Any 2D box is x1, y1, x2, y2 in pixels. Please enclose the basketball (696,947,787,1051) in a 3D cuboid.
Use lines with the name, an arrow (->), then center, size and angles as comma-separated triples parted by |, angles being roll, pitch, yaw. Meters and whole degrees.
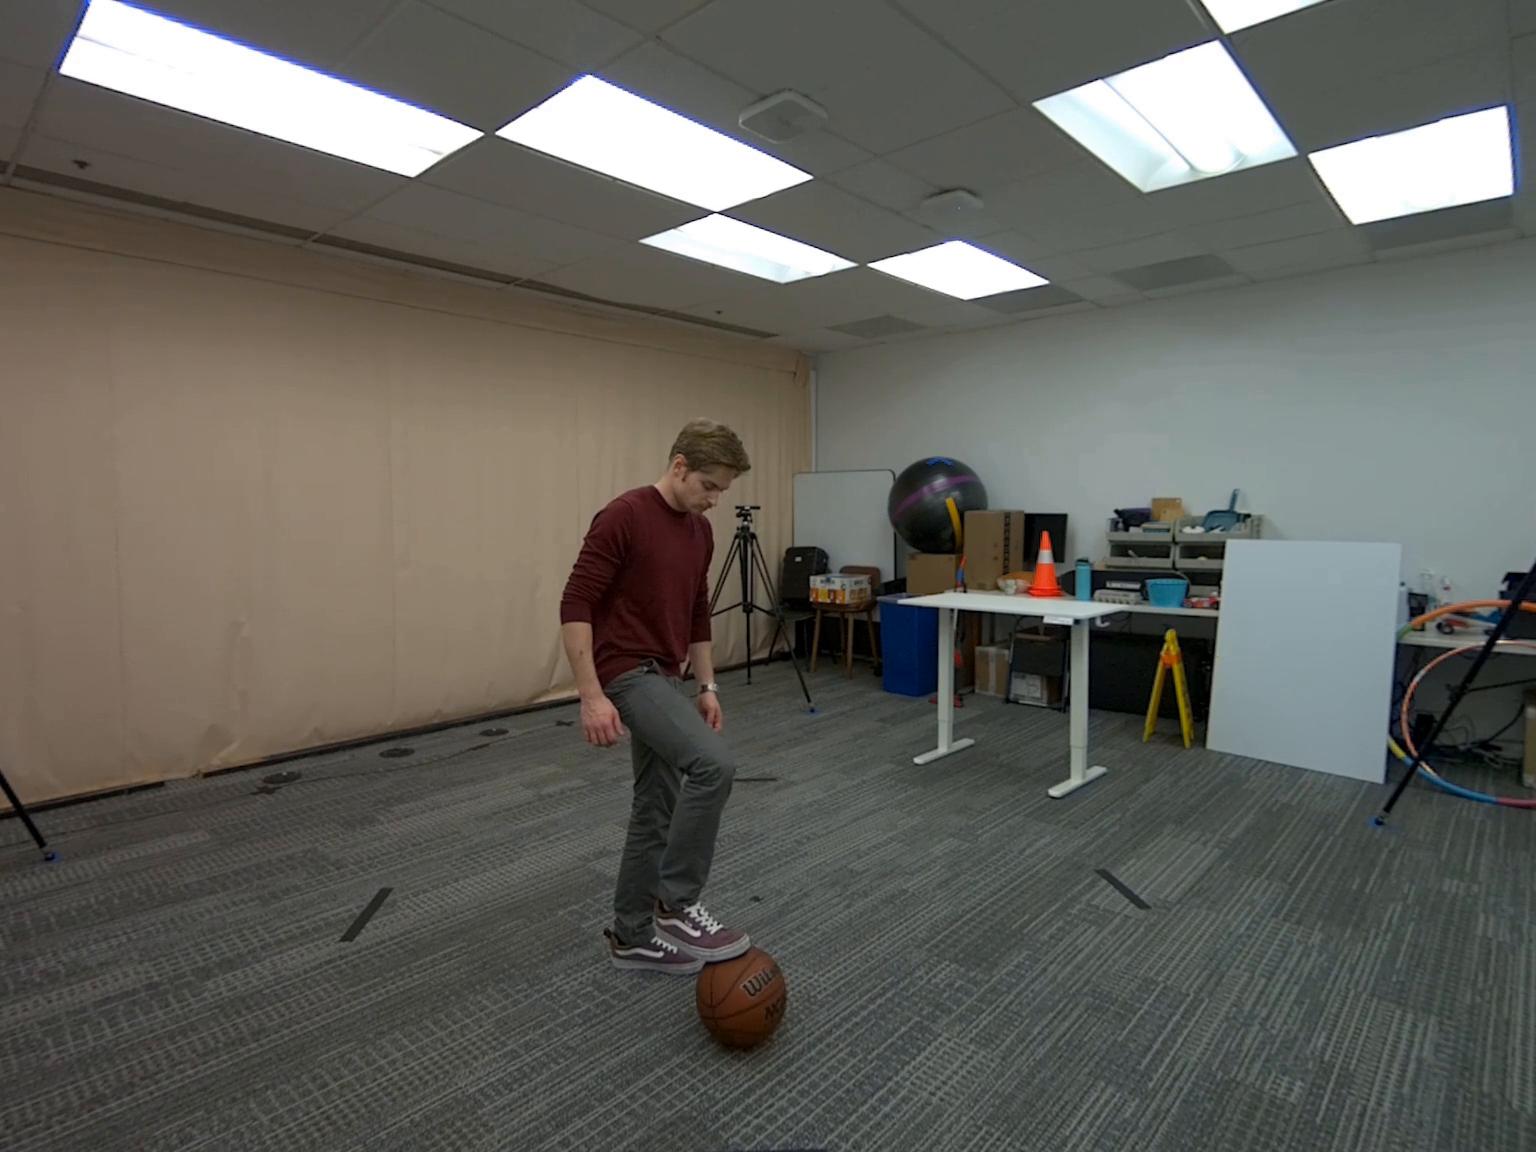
basketball -> -0.066, 1.092, 2.195 | 0.236, 0.235, 0.237 | 0, 4, -2
